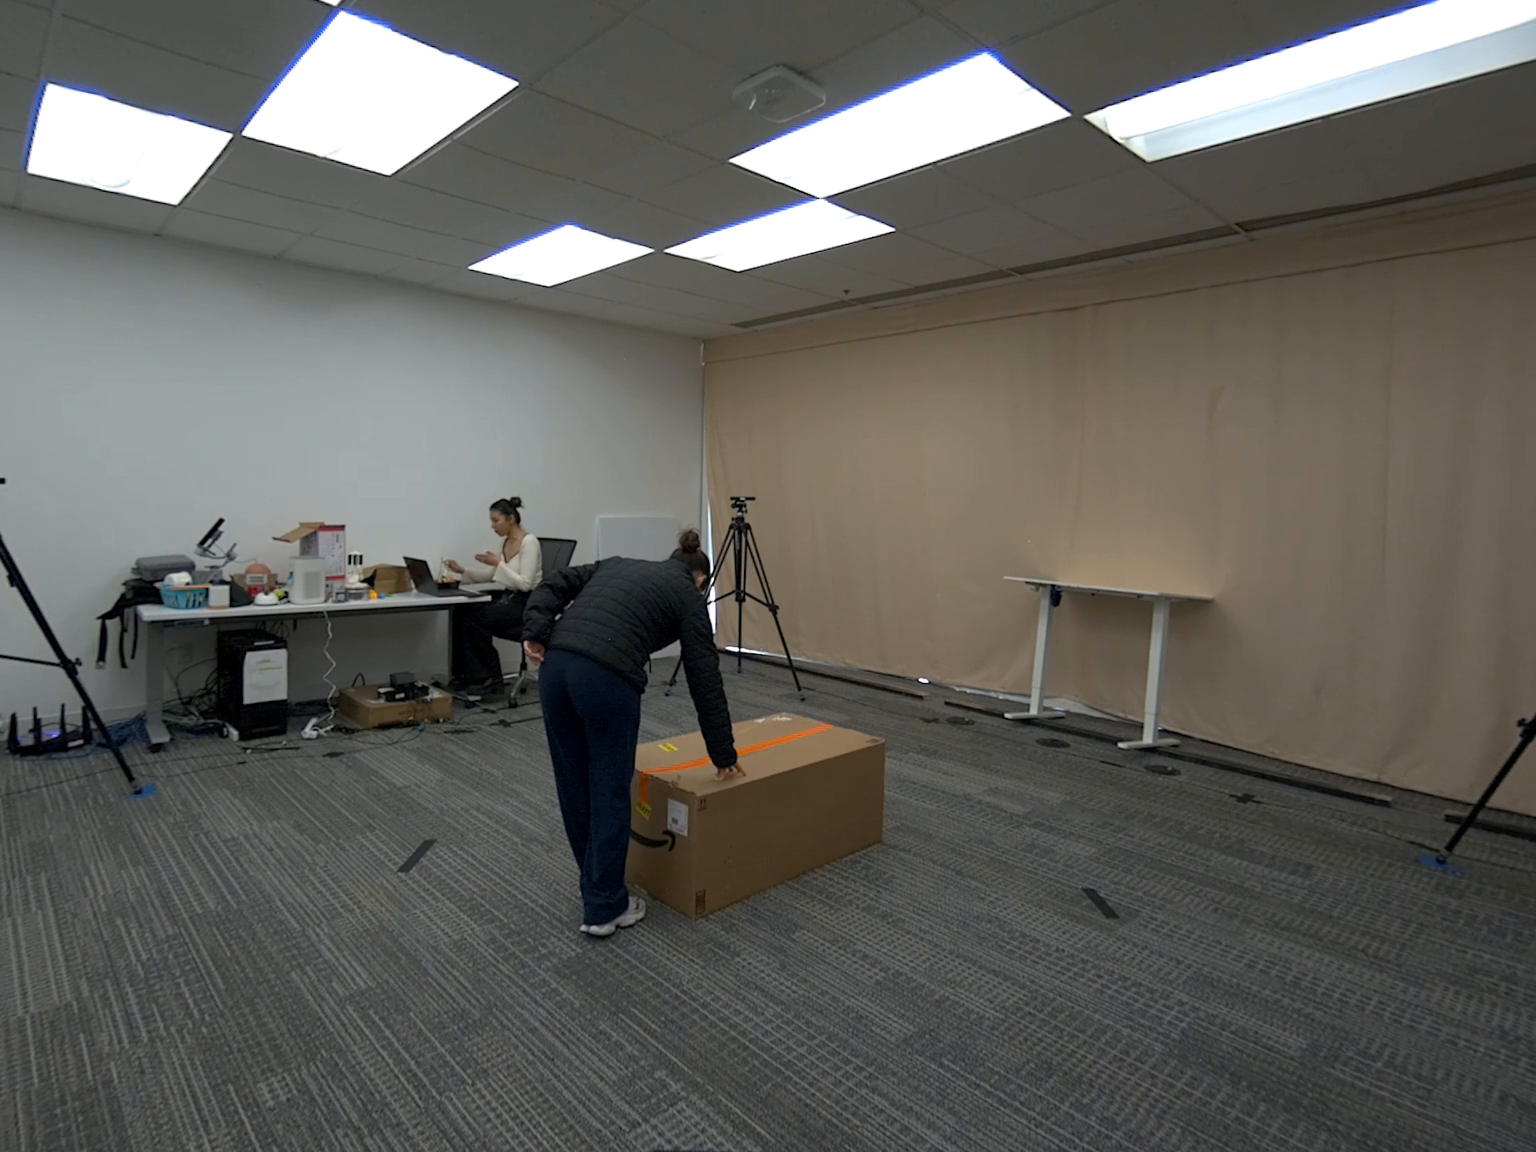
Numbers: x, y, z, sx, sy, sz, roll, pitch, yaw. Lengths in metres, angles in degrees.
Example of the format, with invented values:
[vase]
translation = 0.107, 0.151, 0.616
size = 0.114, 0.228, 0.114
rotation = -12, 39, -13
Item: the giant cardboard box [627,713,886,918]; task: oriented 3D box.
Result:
[giant cardboard box]
translation = -0.089, 0.883, 3.295
size = 1.003, 0.445, 0.599
rotation = -3, 7, -45
